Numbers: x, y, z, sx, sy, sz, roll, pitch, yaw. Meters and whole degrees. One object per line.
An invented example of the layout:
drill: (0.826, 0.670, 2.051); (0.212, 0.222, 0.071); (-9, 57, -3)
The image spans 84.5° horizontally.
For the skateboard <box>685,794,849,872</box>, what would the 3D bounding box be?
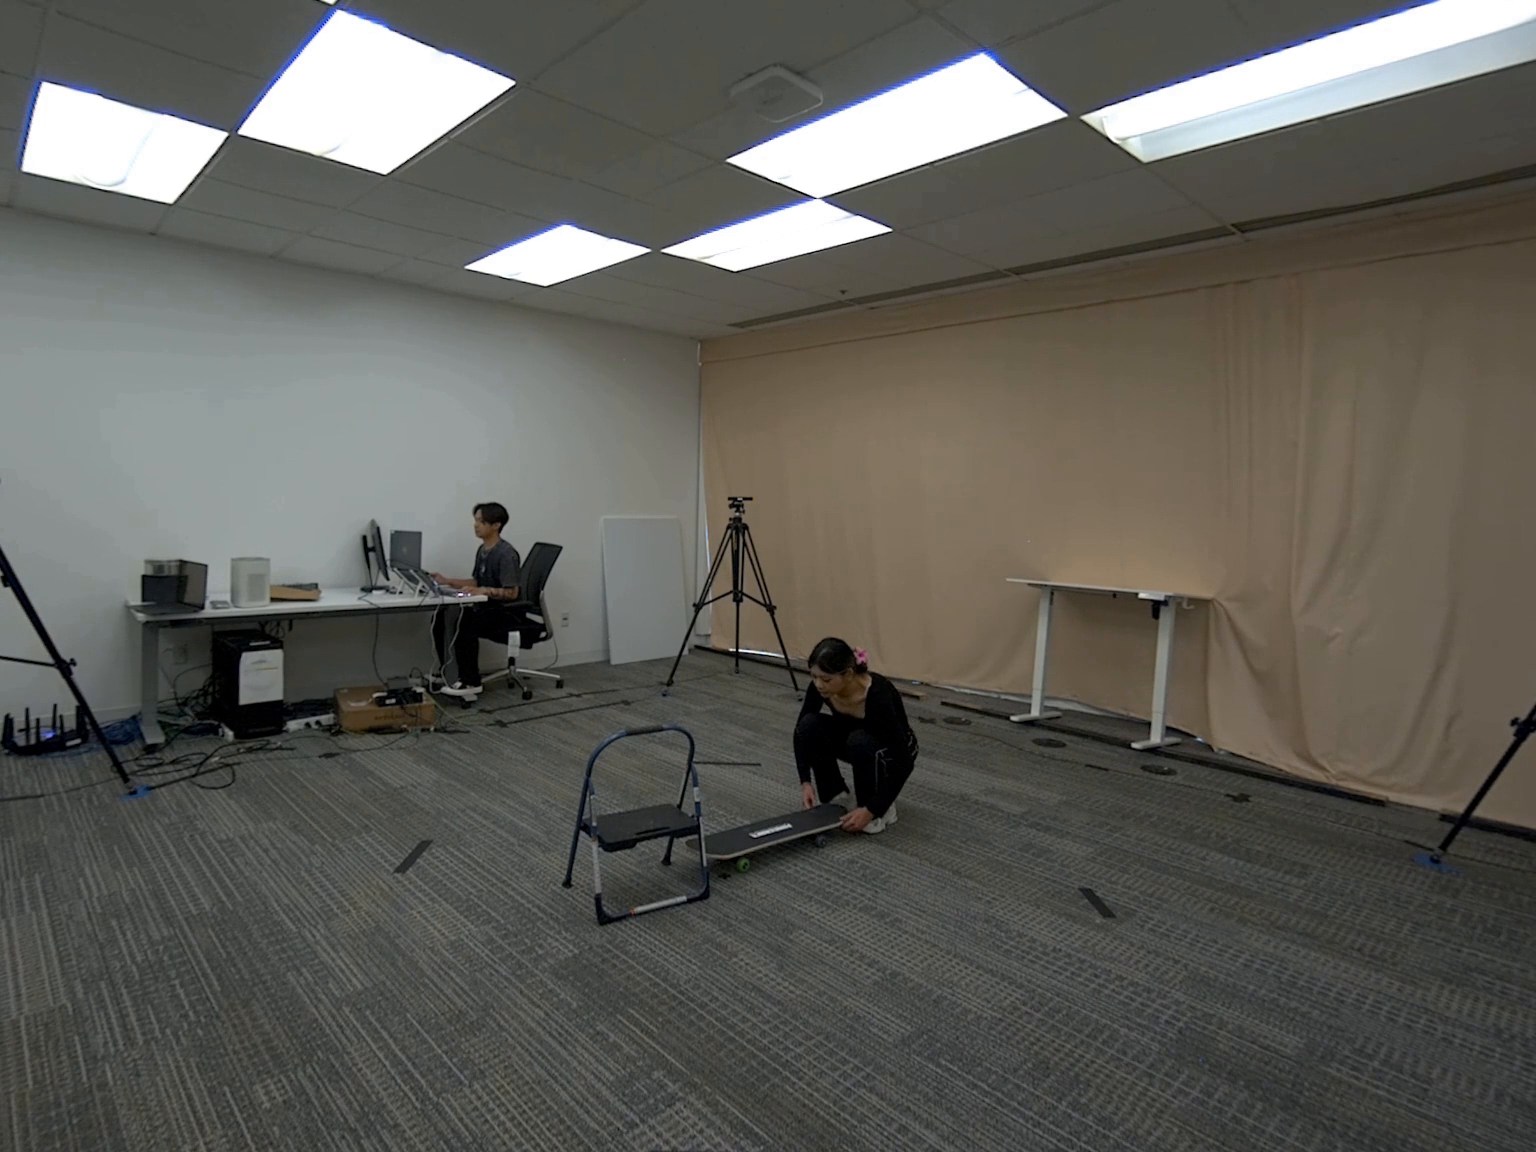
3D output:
skateboard: (0.005, 1.040, 3.322); (0.768, 0.110, 0.198); (-2, 6, -38)
